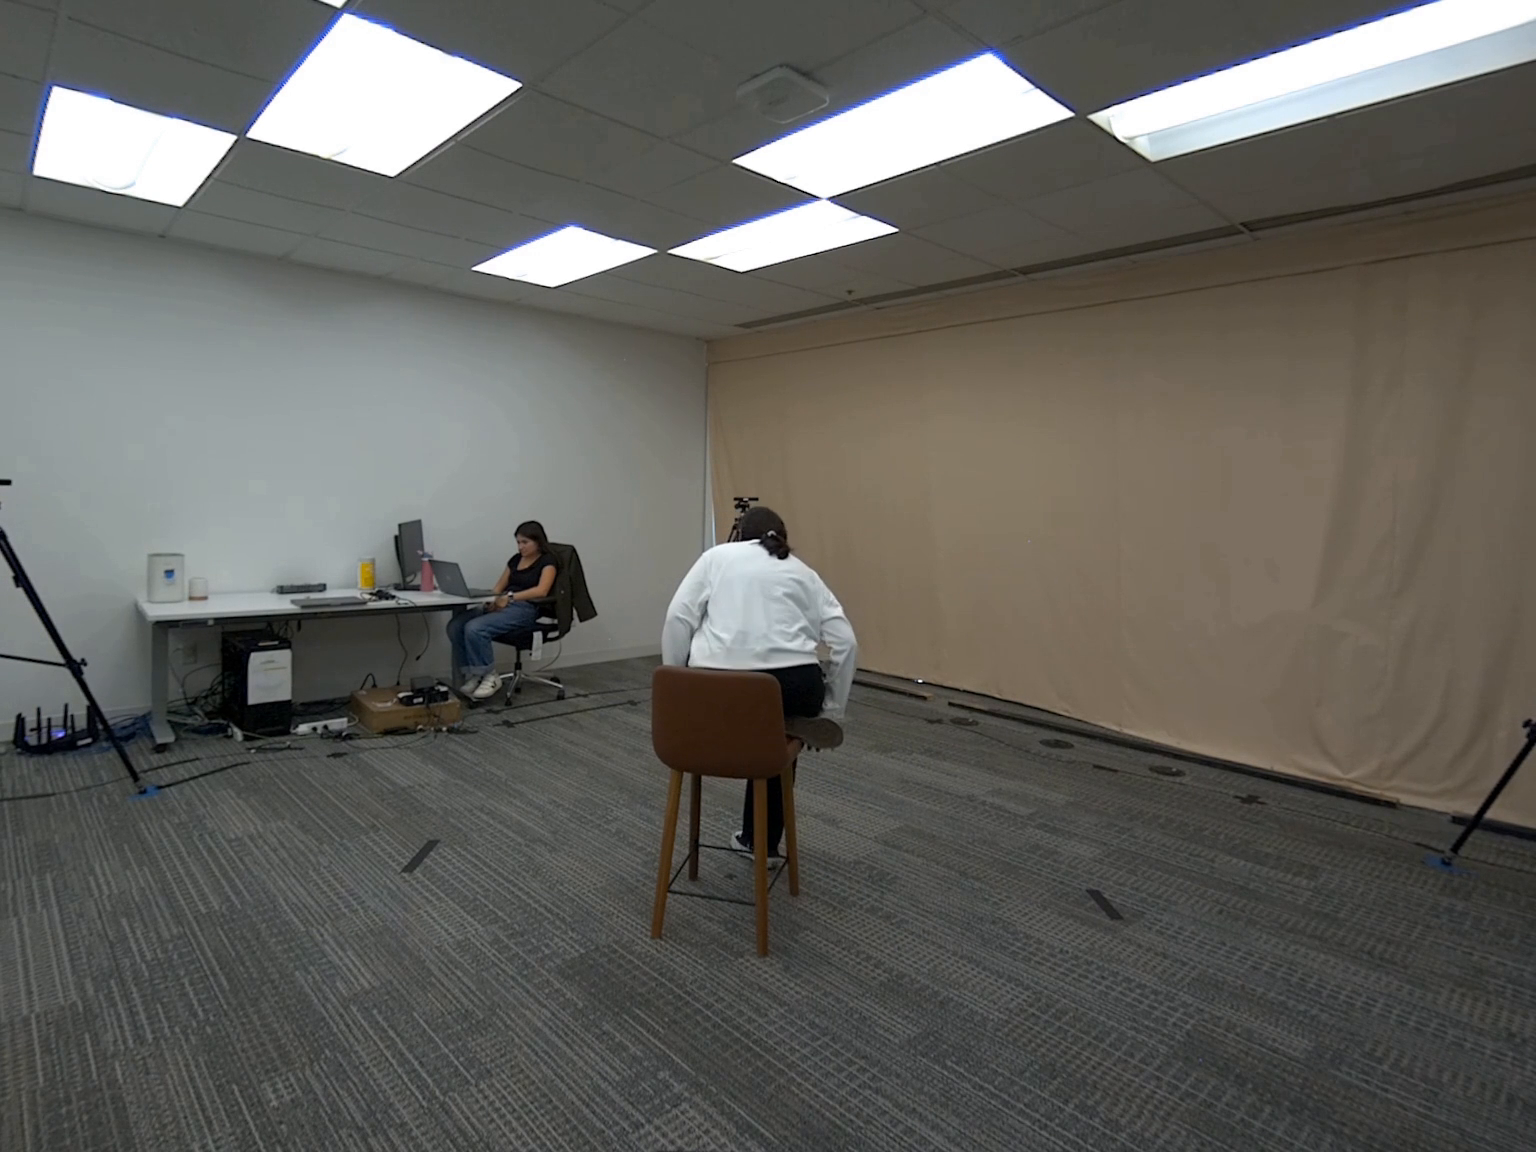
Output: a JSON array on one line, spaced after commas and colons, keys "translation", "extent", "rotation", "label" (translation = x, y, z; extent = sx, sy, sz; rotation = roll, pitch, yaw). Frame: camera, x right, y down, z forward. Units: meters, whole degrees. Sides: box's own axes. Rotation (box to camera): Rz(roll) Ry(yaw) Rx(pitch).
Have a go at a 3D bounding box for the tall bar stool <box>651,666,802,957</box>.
[{"translation": [-0.142, 0.707, 2.786], "extent": [0.462, 0.886, 0.463], "rotation": [2, 5, 15], "label": "tall bar stool"}]
